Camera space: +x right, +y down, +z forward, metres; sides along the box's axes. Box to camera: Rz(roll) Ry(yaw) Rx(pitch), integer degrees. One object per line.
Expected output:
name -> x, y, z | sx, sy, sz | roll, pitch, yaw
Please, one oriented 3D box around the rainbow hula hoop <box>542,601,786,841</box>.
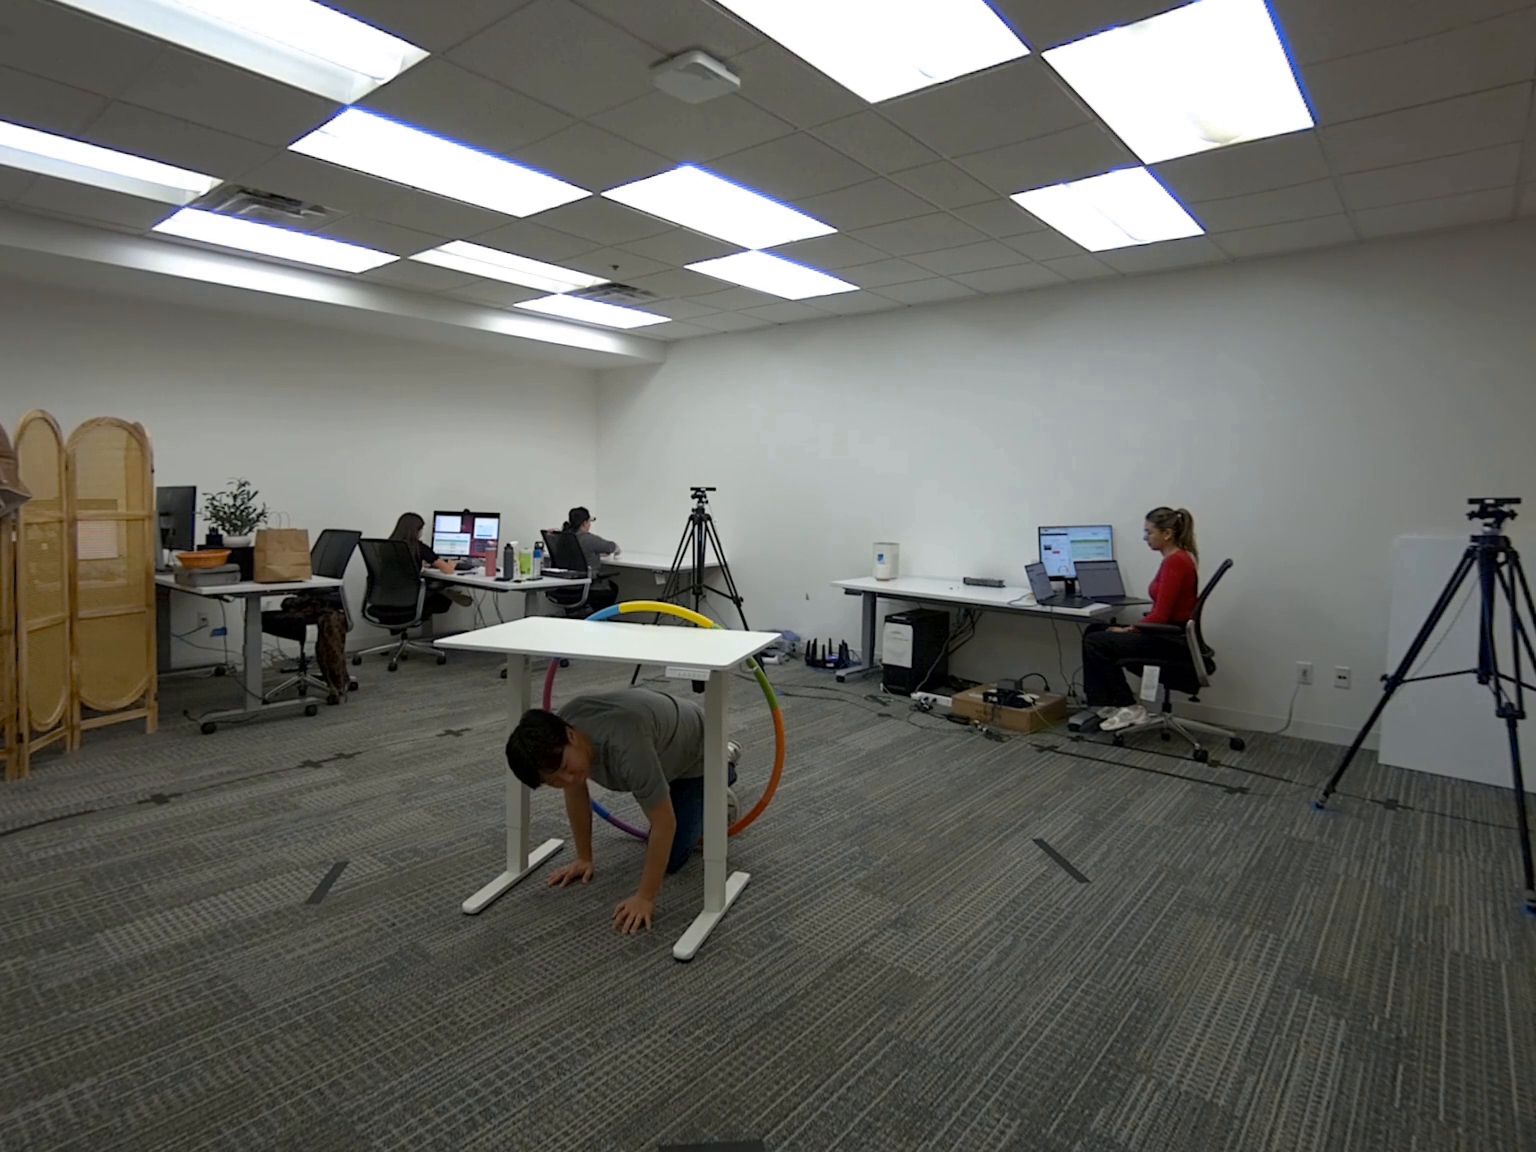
rainbow hula hoop -> -0.423, 0.571, 3.219 | 0.997, 0.967, 0.035 | 3, 12, 18
